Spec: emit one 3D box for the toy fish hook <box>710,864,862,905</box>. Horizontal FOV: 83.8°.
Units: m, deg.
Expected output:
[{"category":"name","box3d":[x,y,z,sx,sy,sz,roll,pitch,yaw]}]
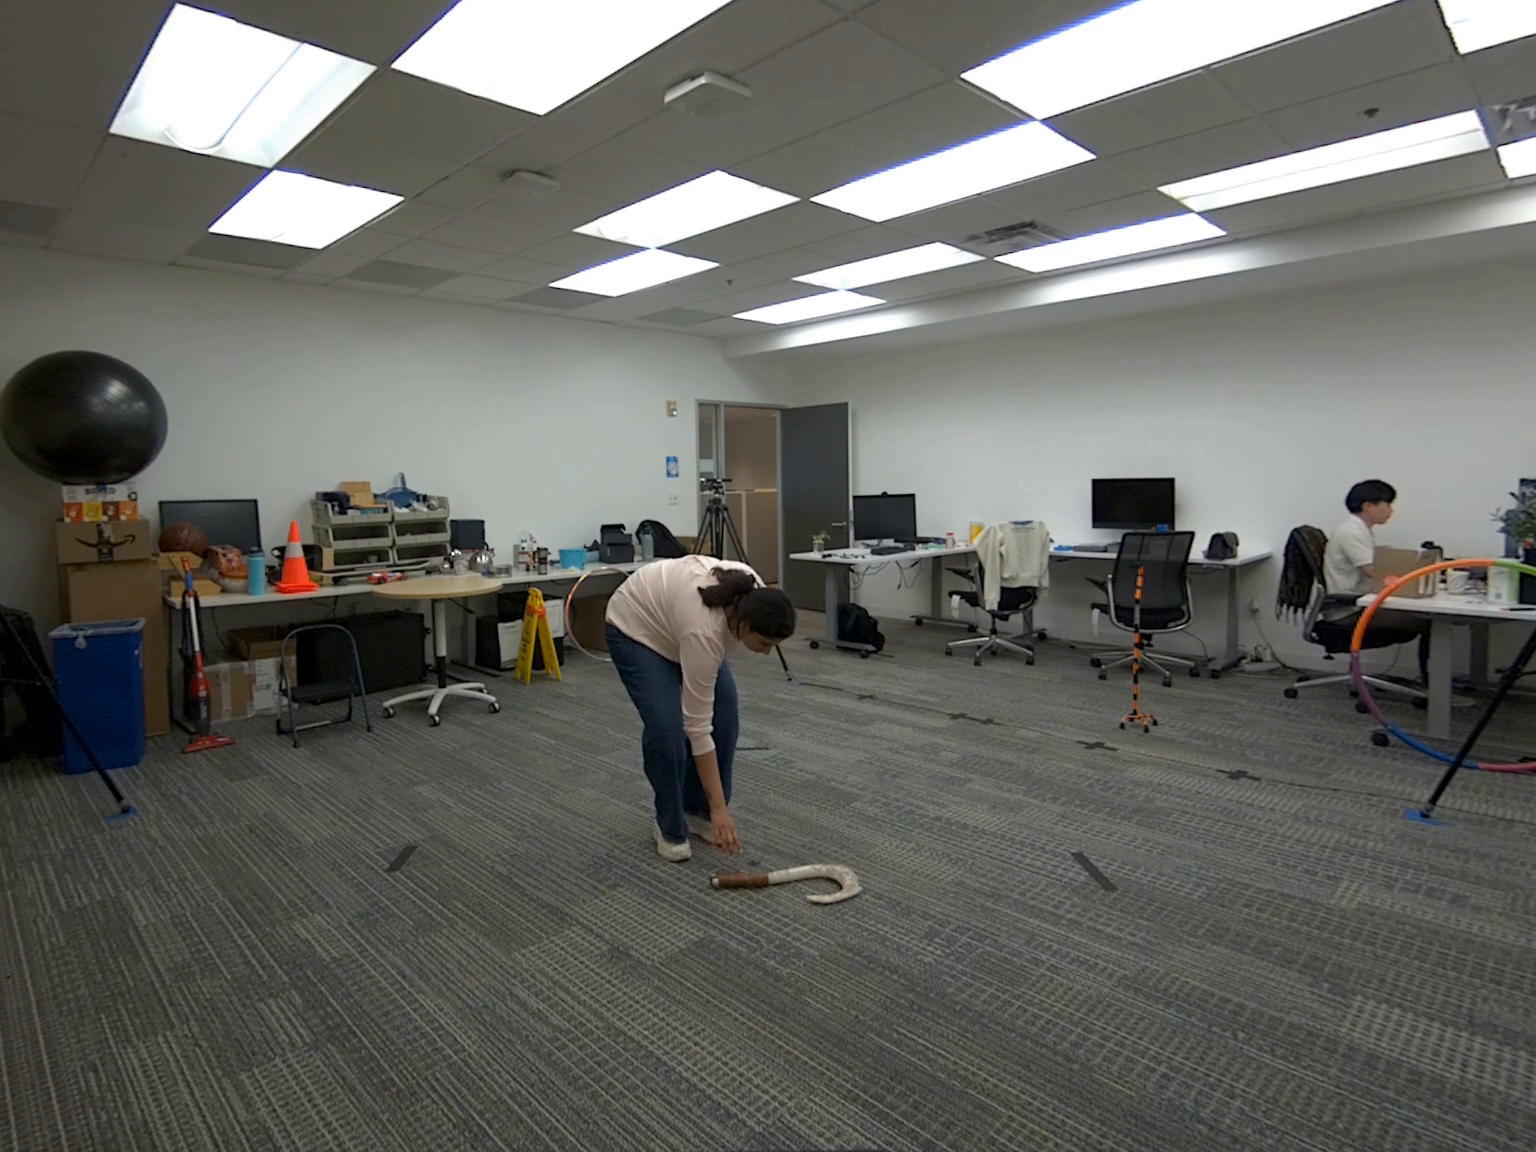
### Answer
[{"category":"toy fish hook","box3d":[0.053,1.041,2.892,0.504,0.048,0.226,-2,5,-5]}]
